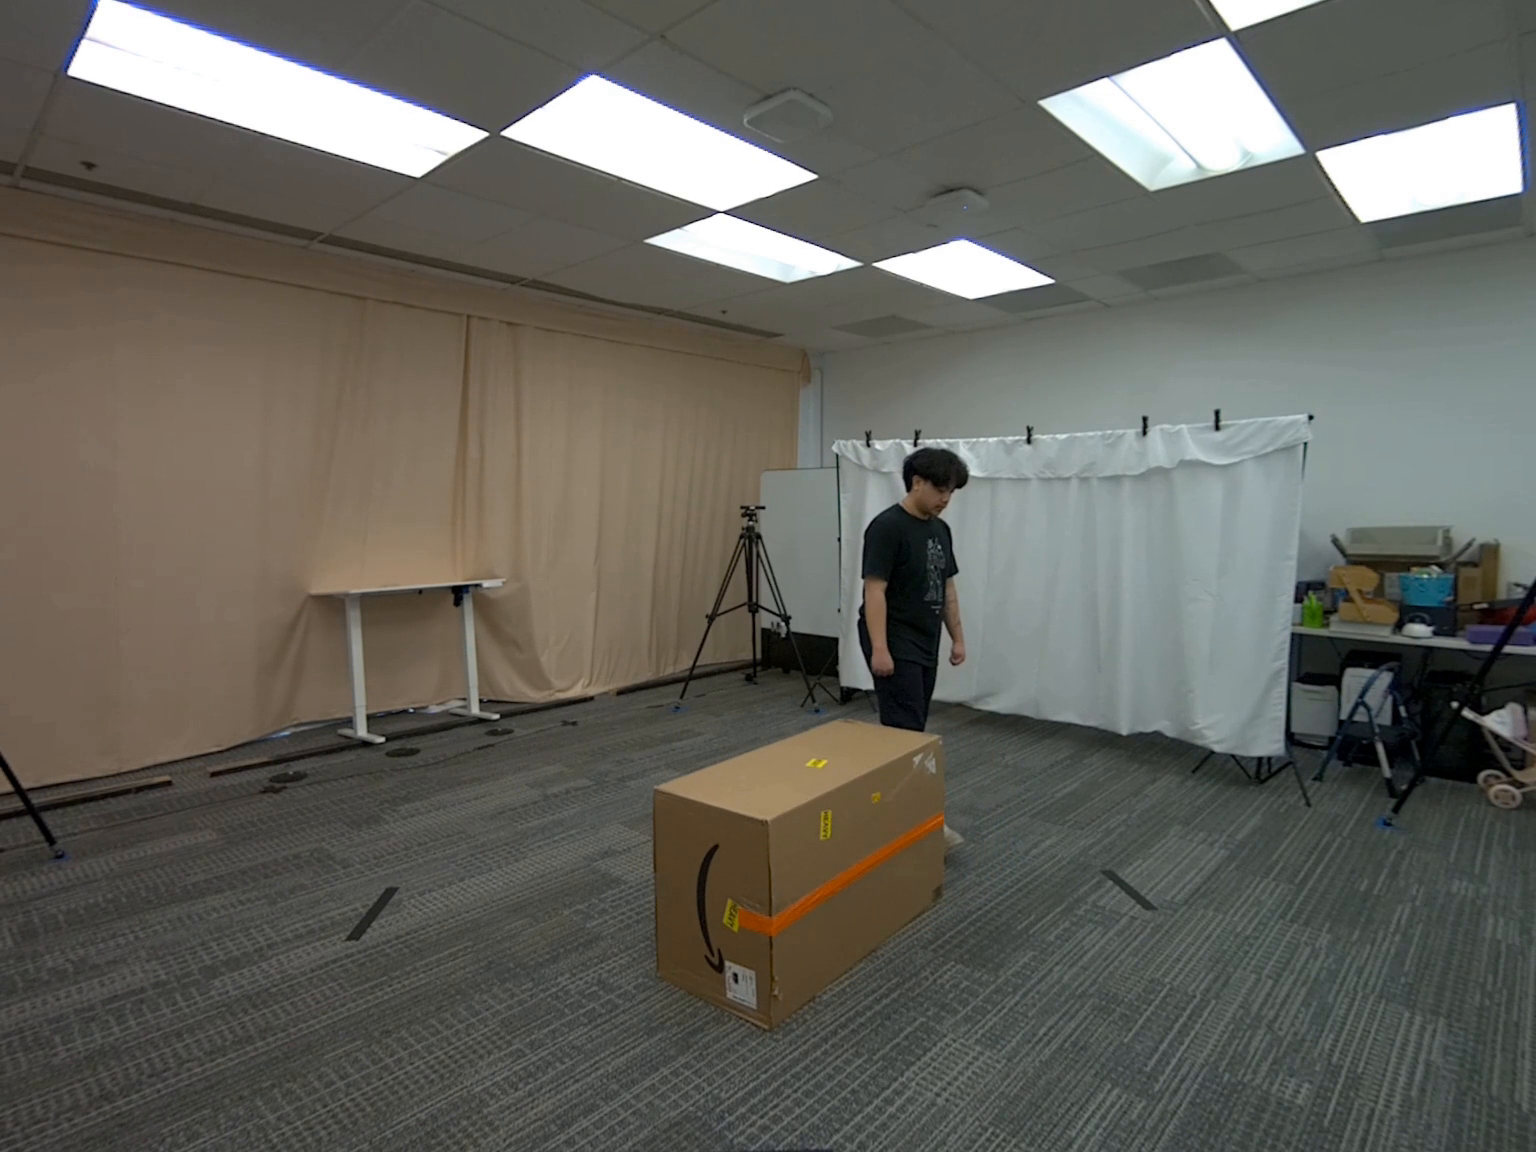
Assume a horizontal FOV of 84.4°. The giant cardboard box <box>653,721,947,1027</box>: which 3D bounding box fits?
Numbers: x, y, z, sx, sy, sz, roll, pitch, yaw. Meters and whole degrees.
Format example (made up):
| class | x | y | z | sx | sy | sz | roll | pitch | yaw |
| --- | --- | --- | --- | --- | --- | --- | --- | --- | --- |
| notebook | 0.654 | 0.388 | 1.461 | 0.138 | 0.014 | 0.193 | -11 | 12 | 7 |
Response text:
| class | x | y | z | sx | sy | sz | roll | pitch | yaw |
| --- | --- | --- | --- | --- | --- | --- | --- | --- | --- |
| giant cardboard box | 0.145 | 0.880 | 2.724 | 0.461 | 0.582 | 0.997 | 3 | 6 | 38 |
